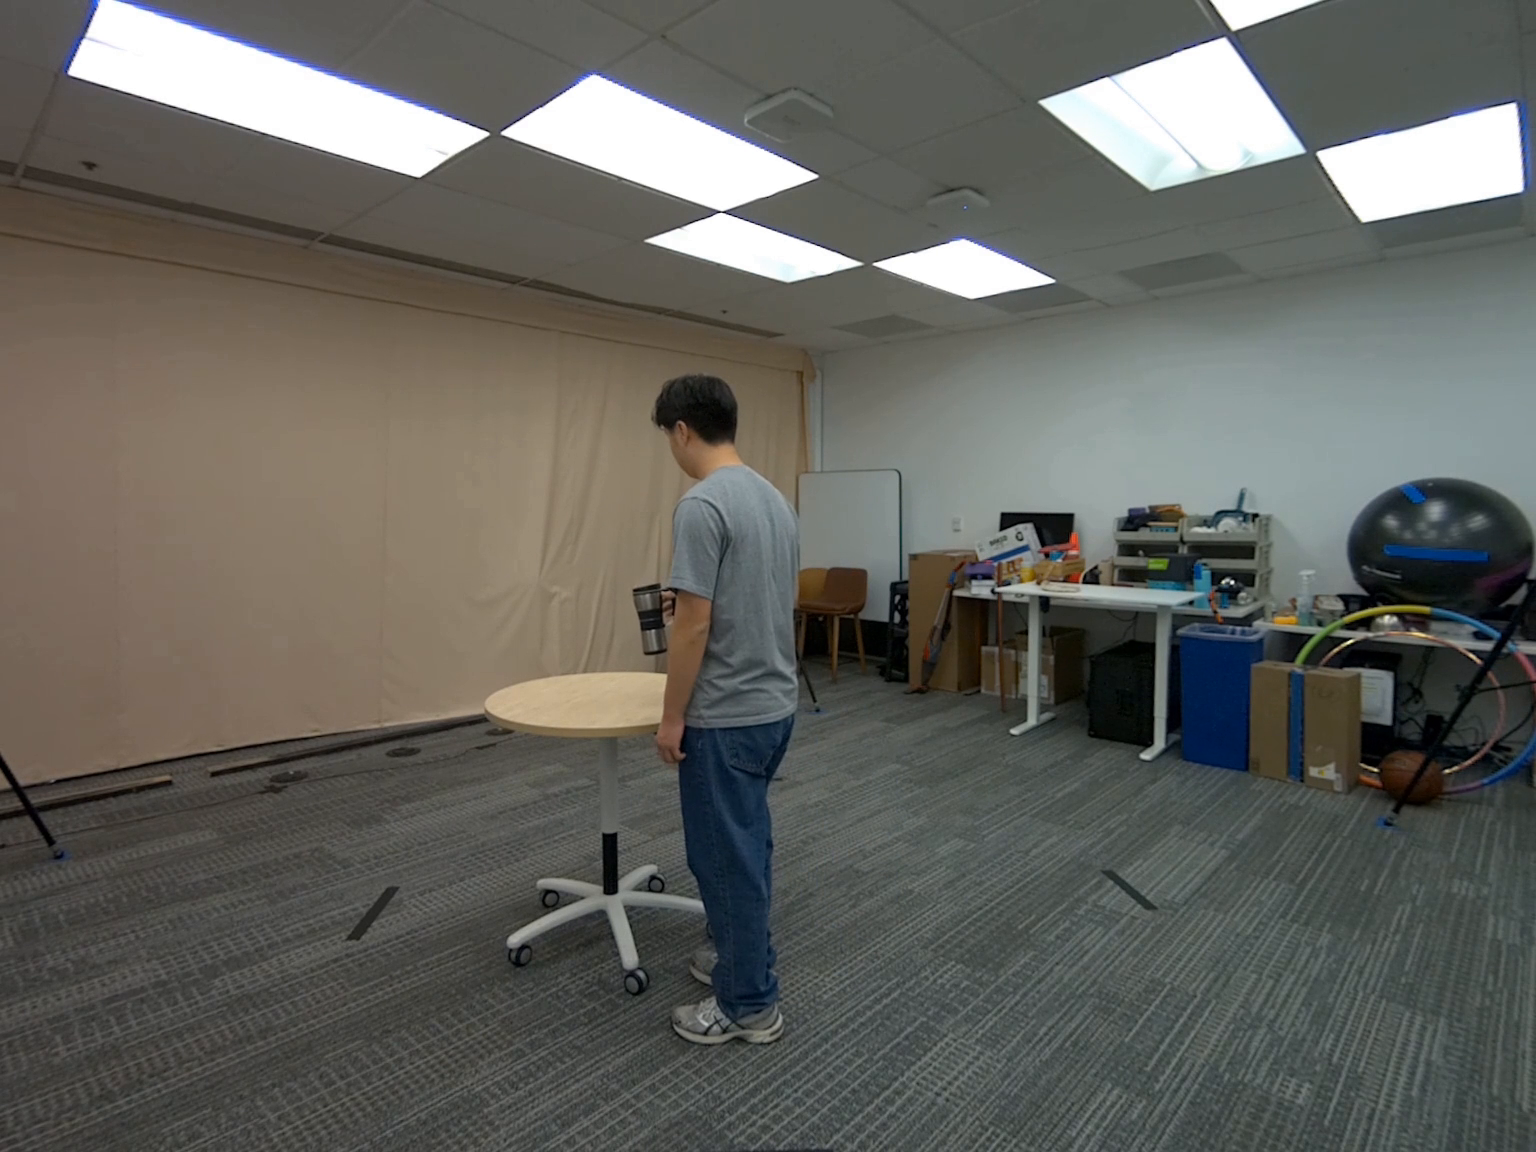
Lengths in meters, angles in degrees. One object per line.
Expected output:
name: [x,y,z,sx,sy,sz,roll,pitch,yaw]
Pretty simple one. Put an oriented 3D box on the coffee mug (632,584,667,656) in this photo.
coffee mug: [-0.326,0.127,2.468,0.124,0.203,0.086,-11,-1,15]
